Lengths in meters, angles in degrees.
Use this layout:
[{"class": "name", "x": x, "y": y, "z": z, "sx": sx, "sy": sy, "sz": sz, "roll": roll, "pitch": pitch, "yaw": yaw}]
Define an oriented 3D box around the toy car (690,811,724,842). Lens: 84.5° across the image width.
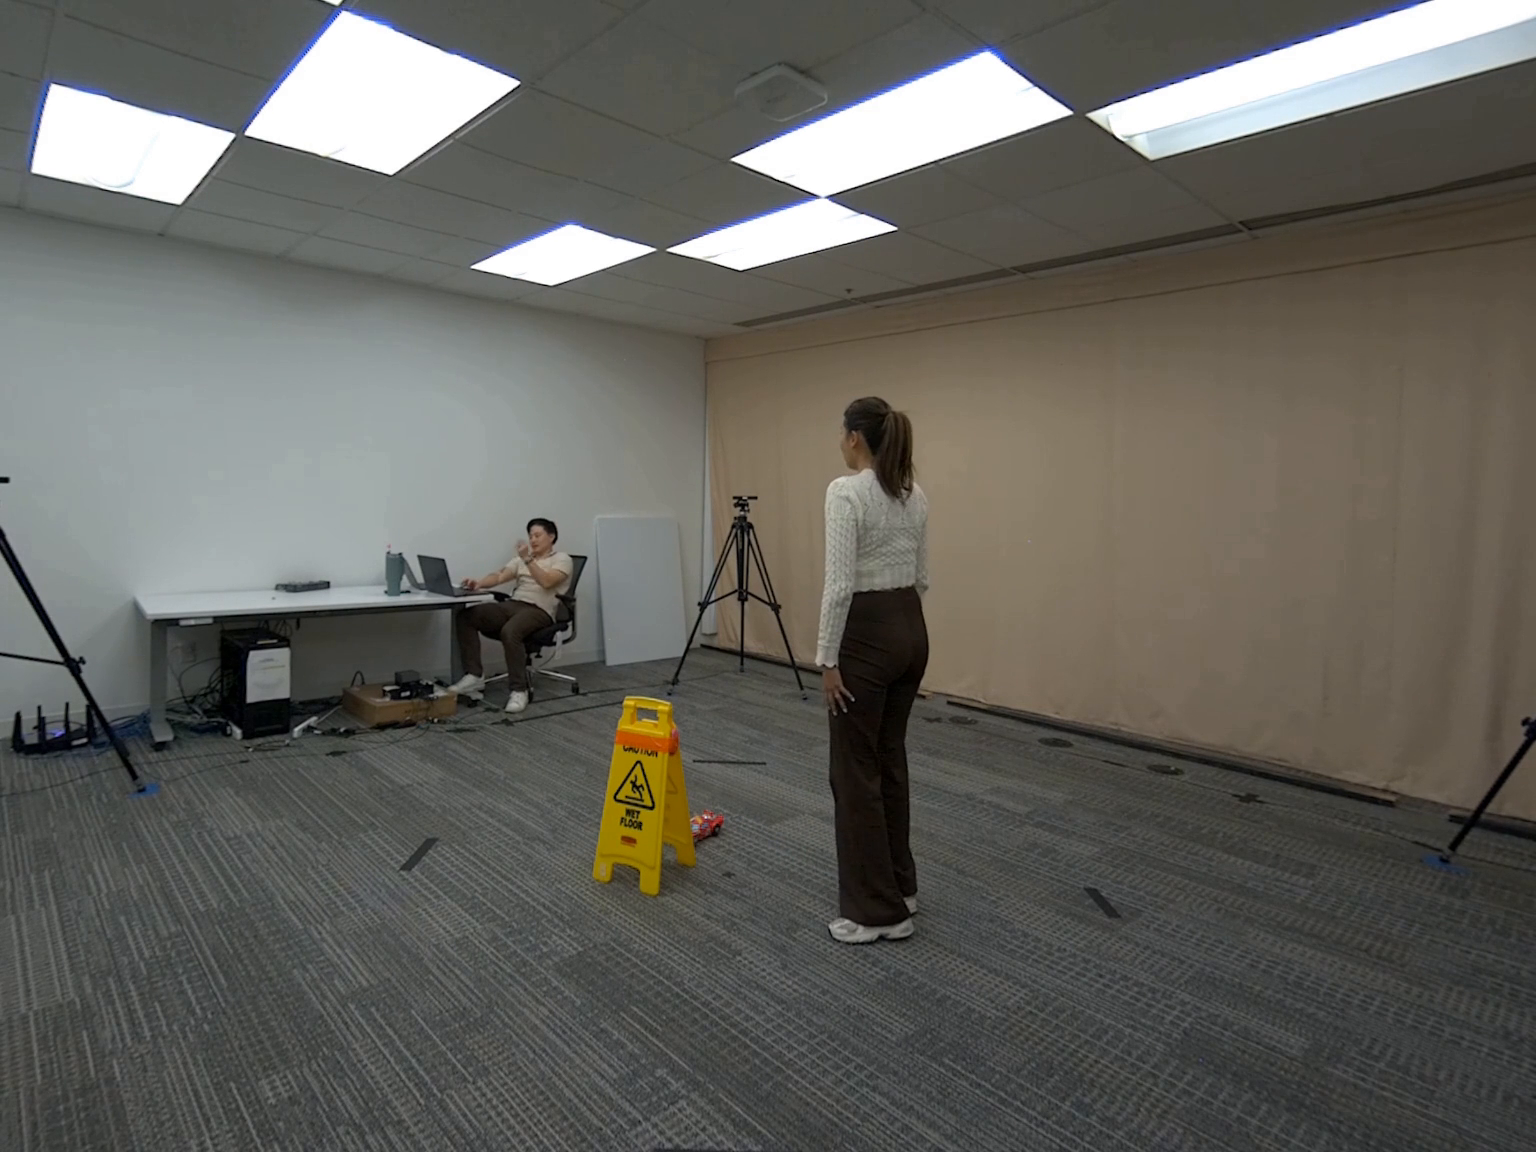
[{"class": "toy car", "x": -0.291, "y": 1.039, "z": 3.455, "sx": 0.133, "sy": 0.082, "sz": 0.251, "roll": 4, "pitch": 17, "yaw": 36}]
